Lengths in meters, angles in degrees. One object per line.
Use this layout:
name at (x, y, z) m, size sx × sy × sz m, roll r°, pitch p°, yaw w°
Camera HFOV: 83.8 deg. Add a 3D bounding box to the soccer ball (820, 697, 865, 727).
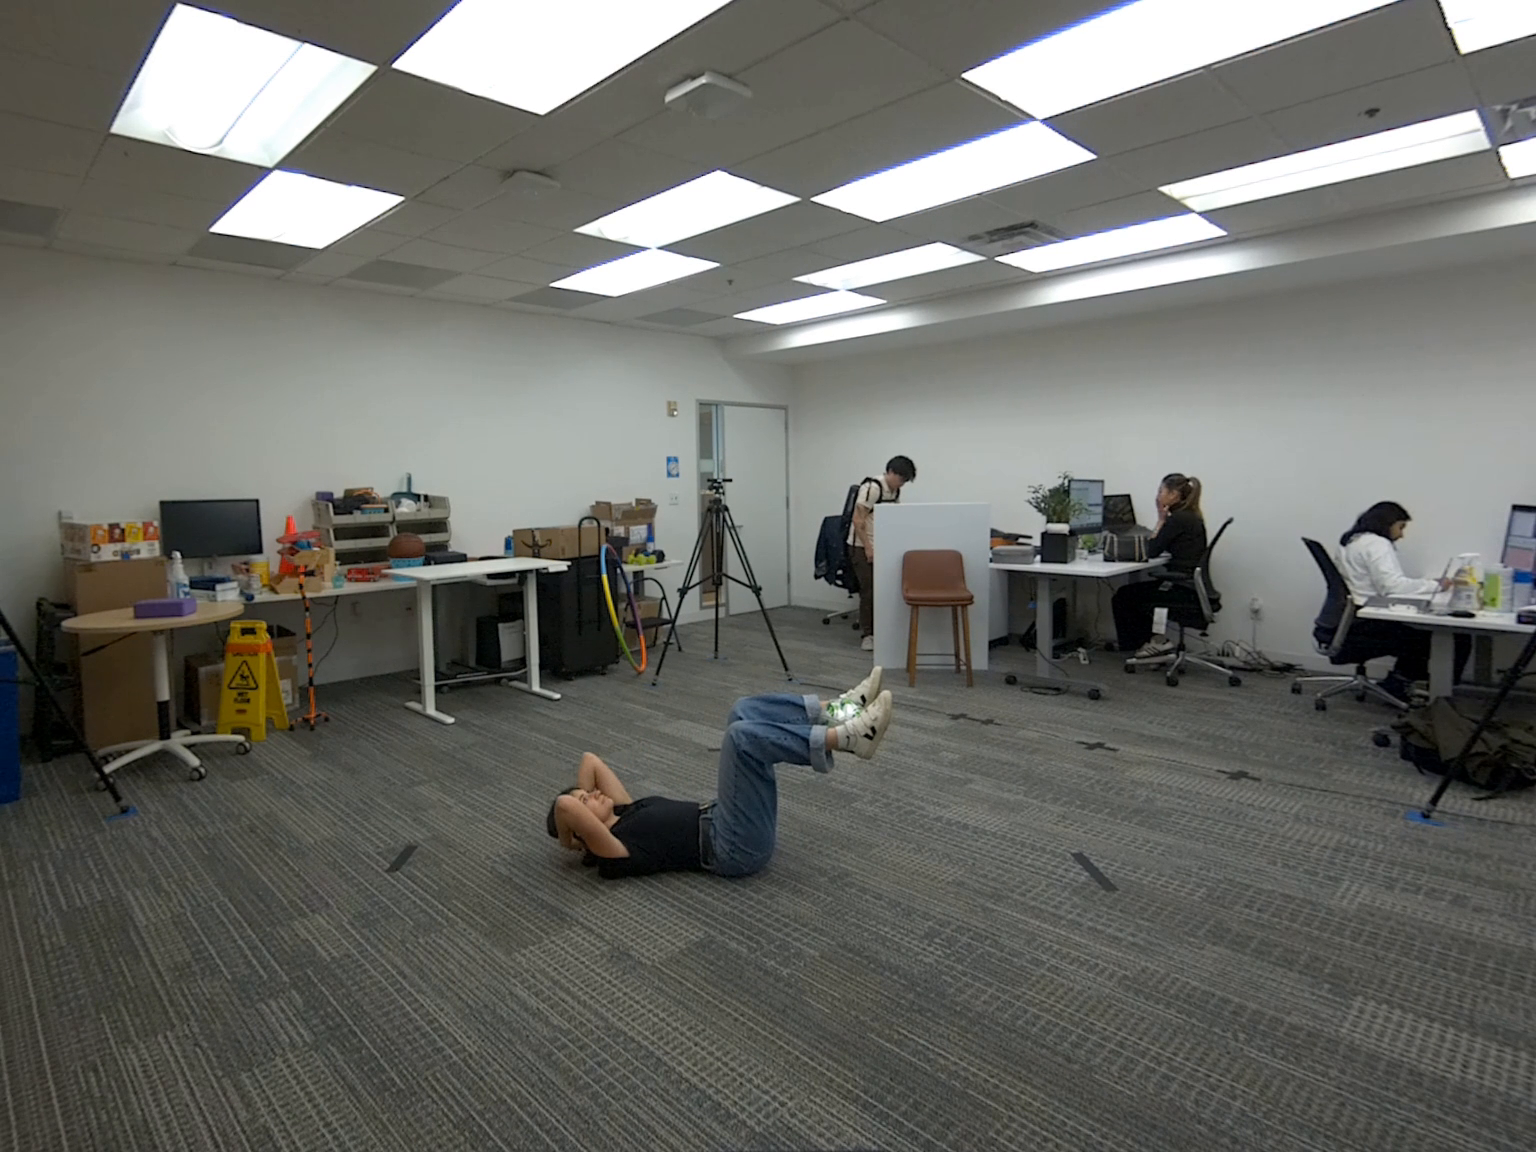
soccer ball at (0.287, 0.534, 3.047) m, size 0.187 × 0.187 × 0.188 m, roll 0°, pitch 1°, yaw -2°
